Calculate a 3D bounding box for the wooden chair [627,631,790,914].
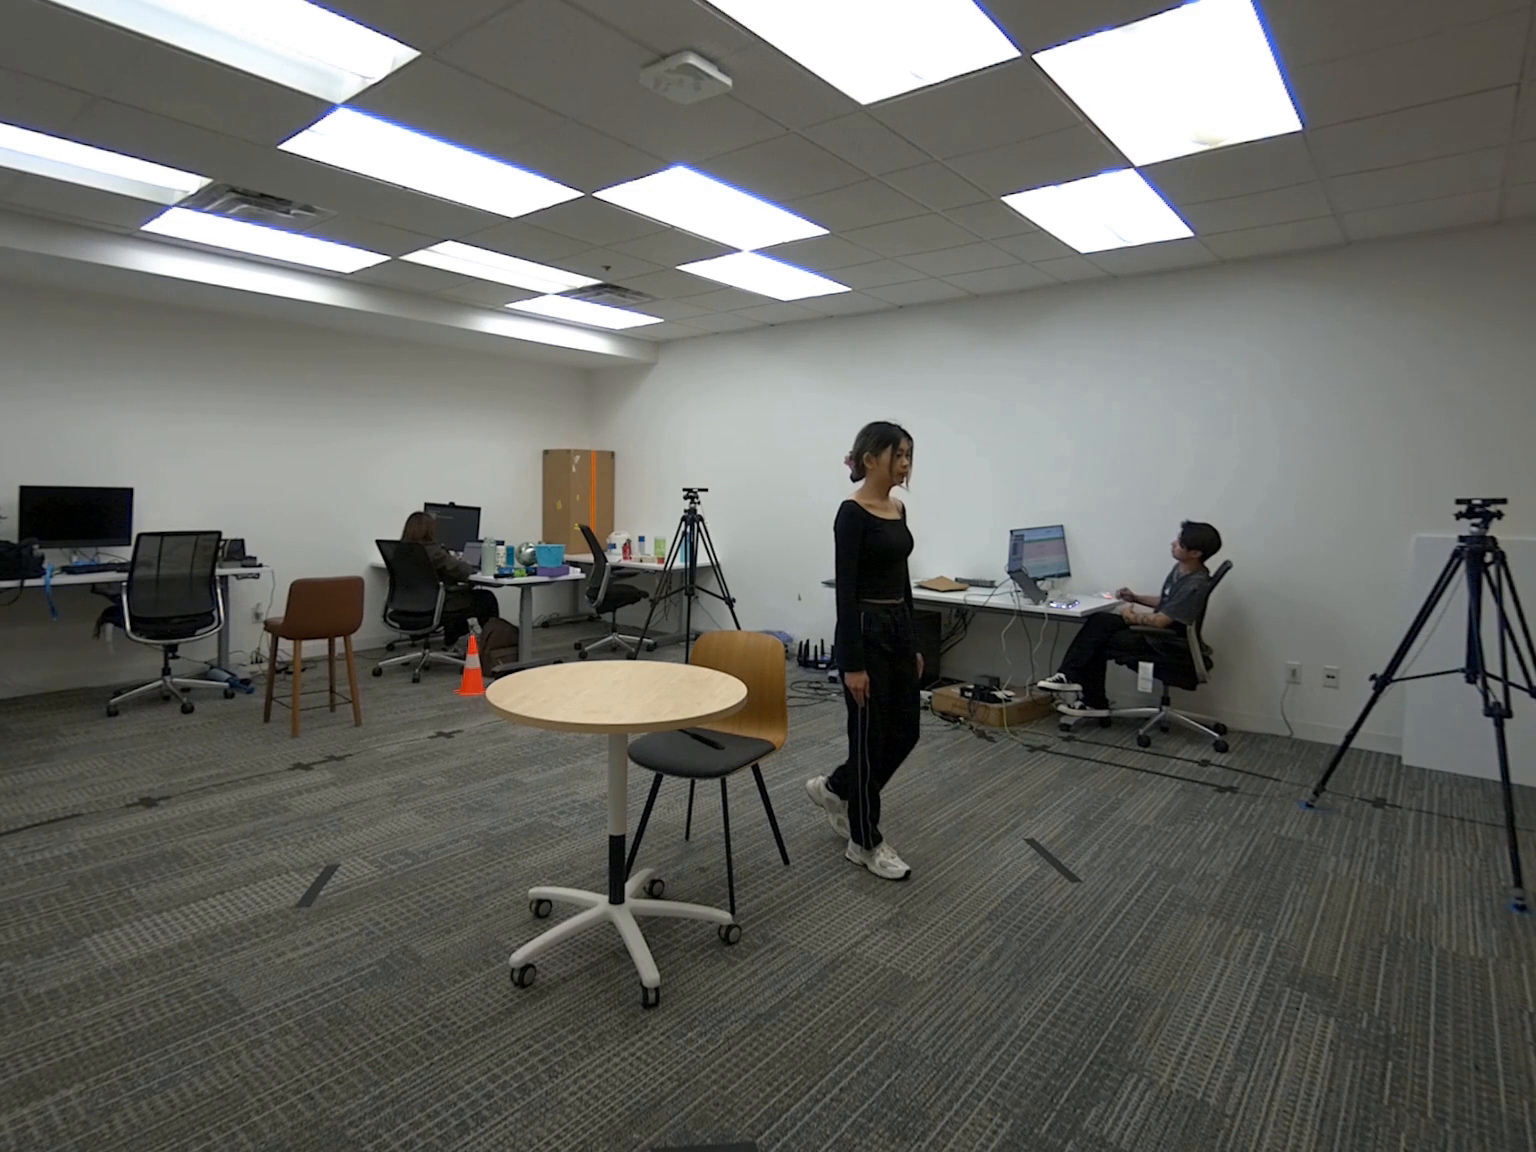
[{"bbox_3d":[-0.223,0.647,3.046,0.491,0.878,0.508,2,-1,27],"label":"wooden chair"}]
